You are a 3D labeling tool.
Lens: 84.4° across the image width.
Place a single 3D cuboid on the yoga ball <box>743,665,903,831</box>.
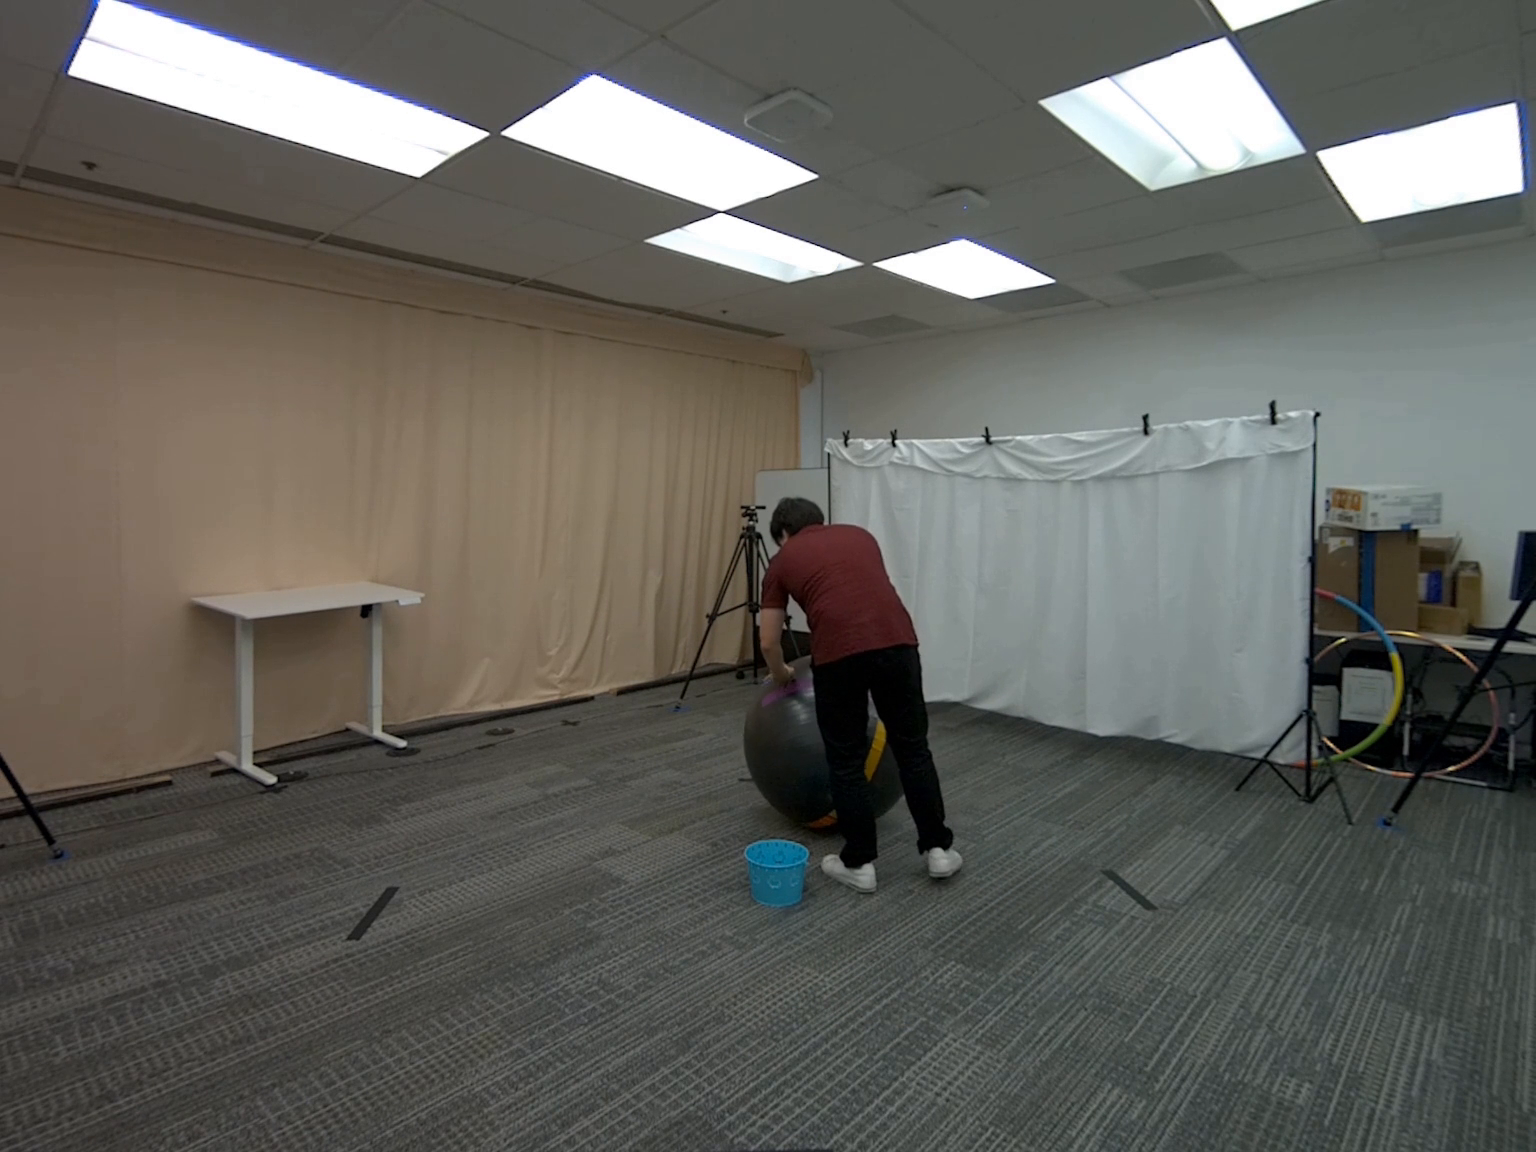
[{"bbox_3d":[0.271,0.722,3.700,0.757,0.756,0.760,0,4,-2],"label":"yoga ball"}]
